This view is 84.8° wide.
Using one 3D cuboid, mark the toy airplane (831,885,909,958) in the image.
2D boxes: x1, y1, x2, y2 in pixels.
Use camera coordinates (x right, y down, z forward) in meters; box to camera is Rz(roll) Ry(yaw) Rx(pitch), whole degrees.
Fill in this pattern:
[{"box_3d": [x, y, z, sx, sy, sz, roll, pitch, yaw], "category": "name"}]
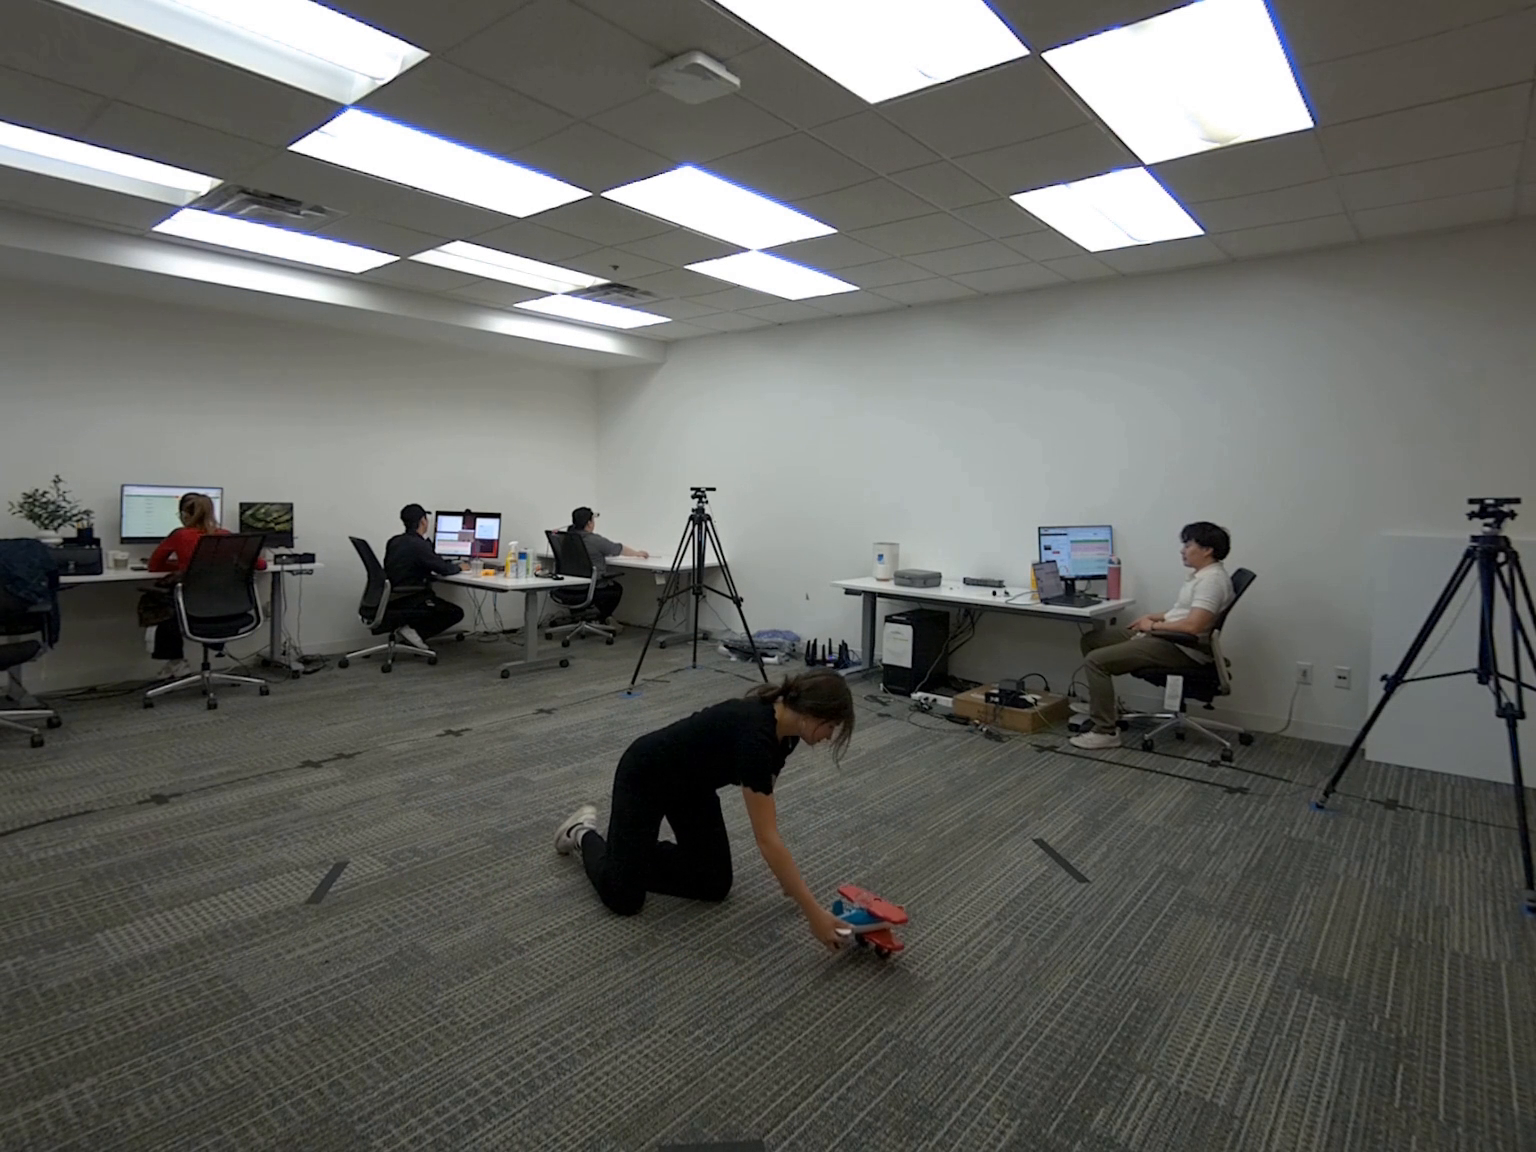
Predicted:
[{"box_3d": [0.287, 1.038, 2.526, 0.259, 0.157, 0.250, 15, -10, 25], "category": "toy airplane"}]
